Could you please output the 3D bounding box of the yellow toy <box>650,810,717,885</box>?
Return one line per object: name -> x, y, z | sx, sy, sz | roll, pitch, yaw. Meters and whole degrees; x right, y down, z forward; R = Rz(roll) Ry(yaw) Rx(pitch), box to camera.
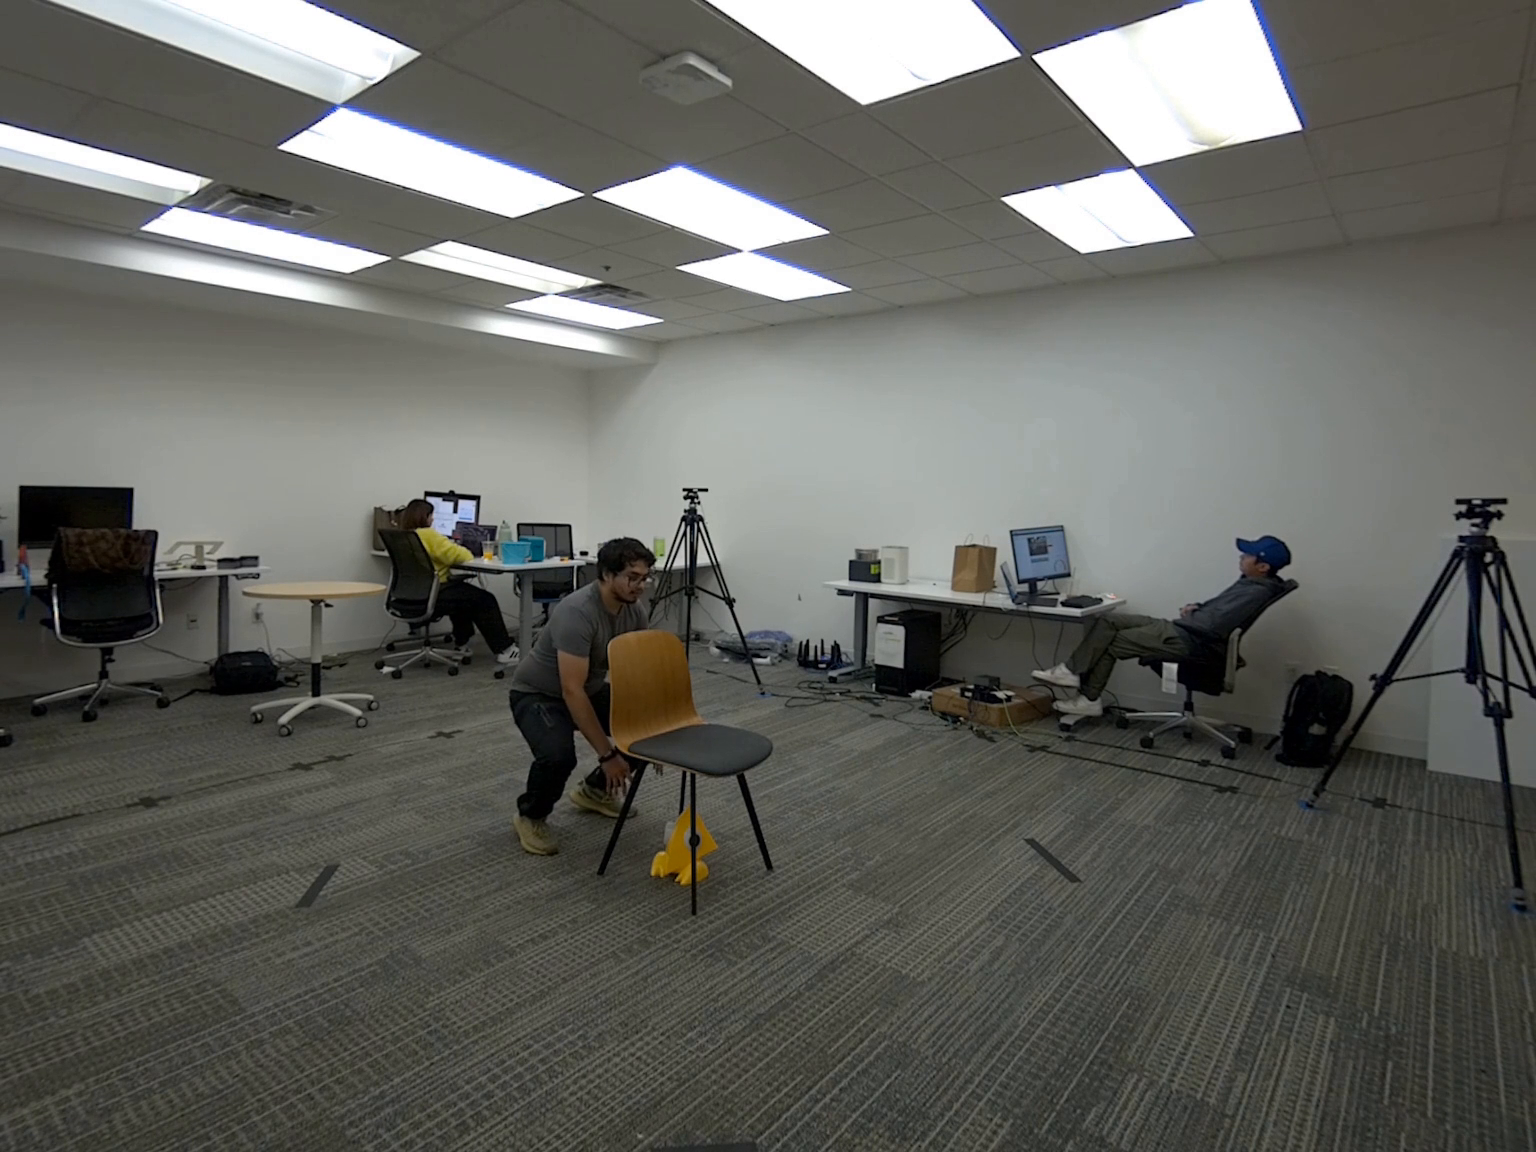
yellow toy -> -0.323, 0.957, 3.084 | 0.211, 0.230, 0.187 | 3, 2, 33
